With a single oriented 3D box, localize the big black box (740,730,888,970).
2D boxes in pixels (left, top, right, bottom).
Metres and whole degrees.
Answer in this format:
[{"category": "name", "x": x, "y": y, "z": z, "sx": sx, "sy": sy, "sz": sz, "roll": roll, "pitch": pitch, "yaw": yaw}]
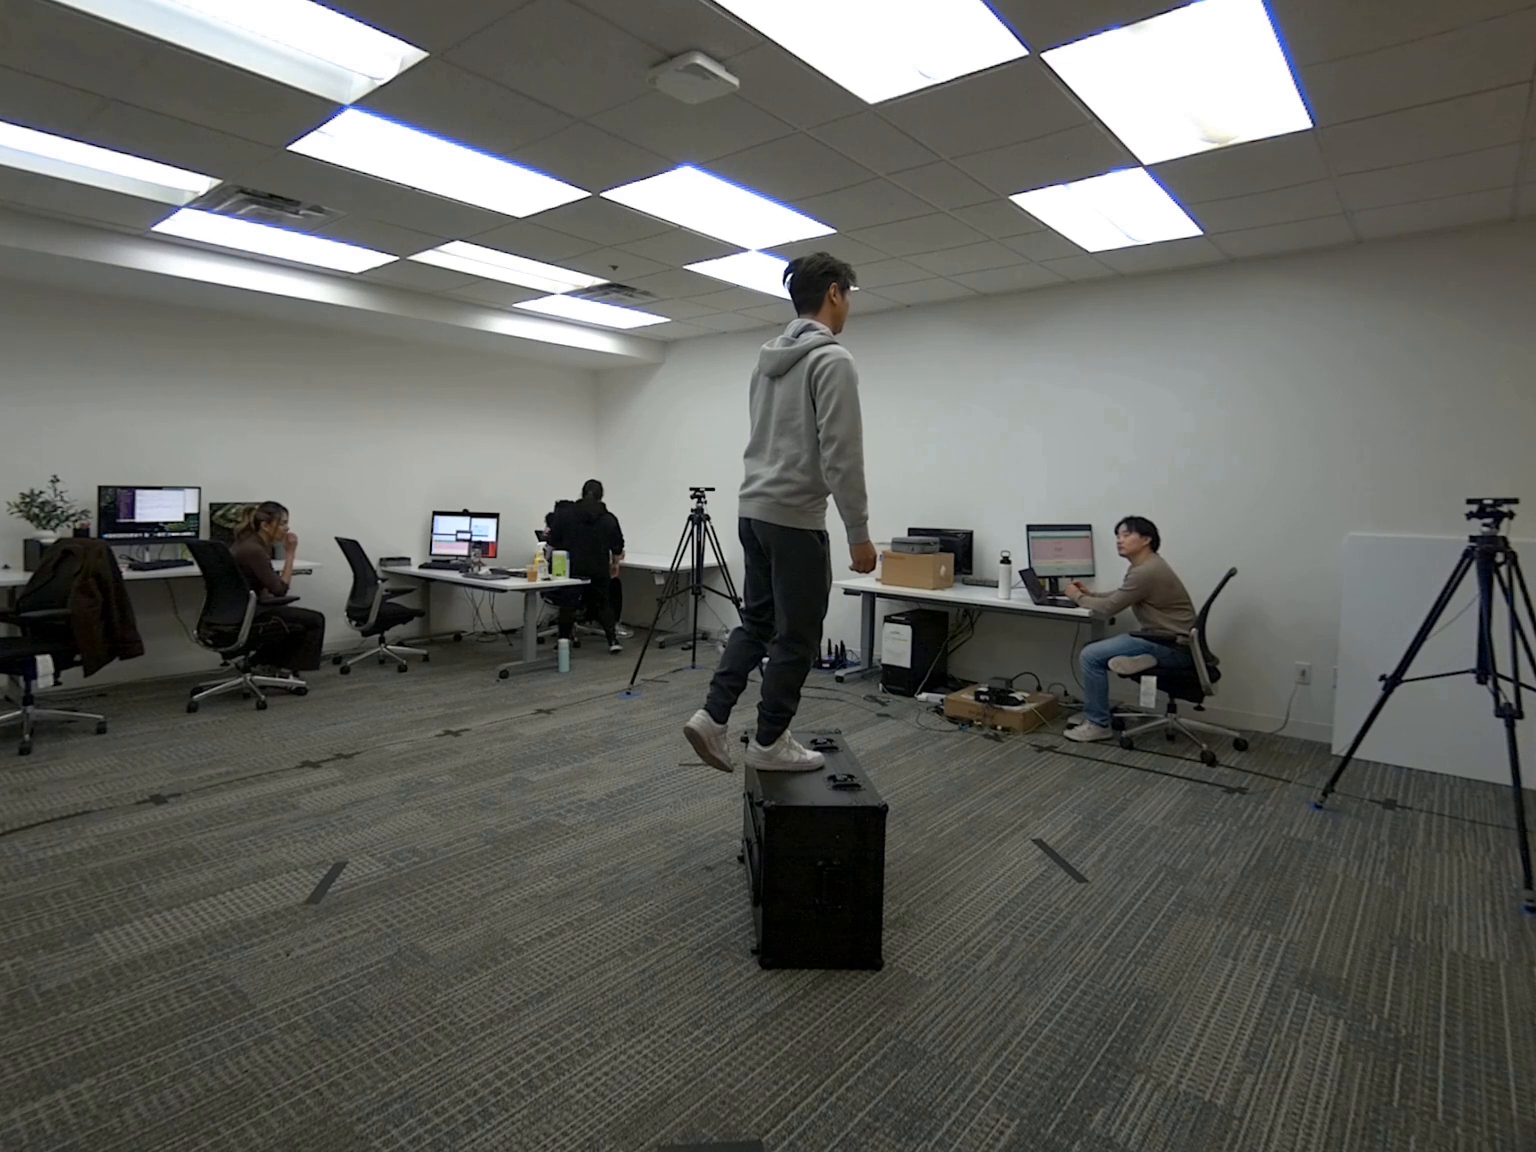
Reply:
[{"category": "big black box", "x": 0.101, "y": 0.855, "z": 2.871, "sx": 0.395, "sy": 0.519, "sz": 0.868, "roll": 1, "pitch": 5, "yaw": -5}]
